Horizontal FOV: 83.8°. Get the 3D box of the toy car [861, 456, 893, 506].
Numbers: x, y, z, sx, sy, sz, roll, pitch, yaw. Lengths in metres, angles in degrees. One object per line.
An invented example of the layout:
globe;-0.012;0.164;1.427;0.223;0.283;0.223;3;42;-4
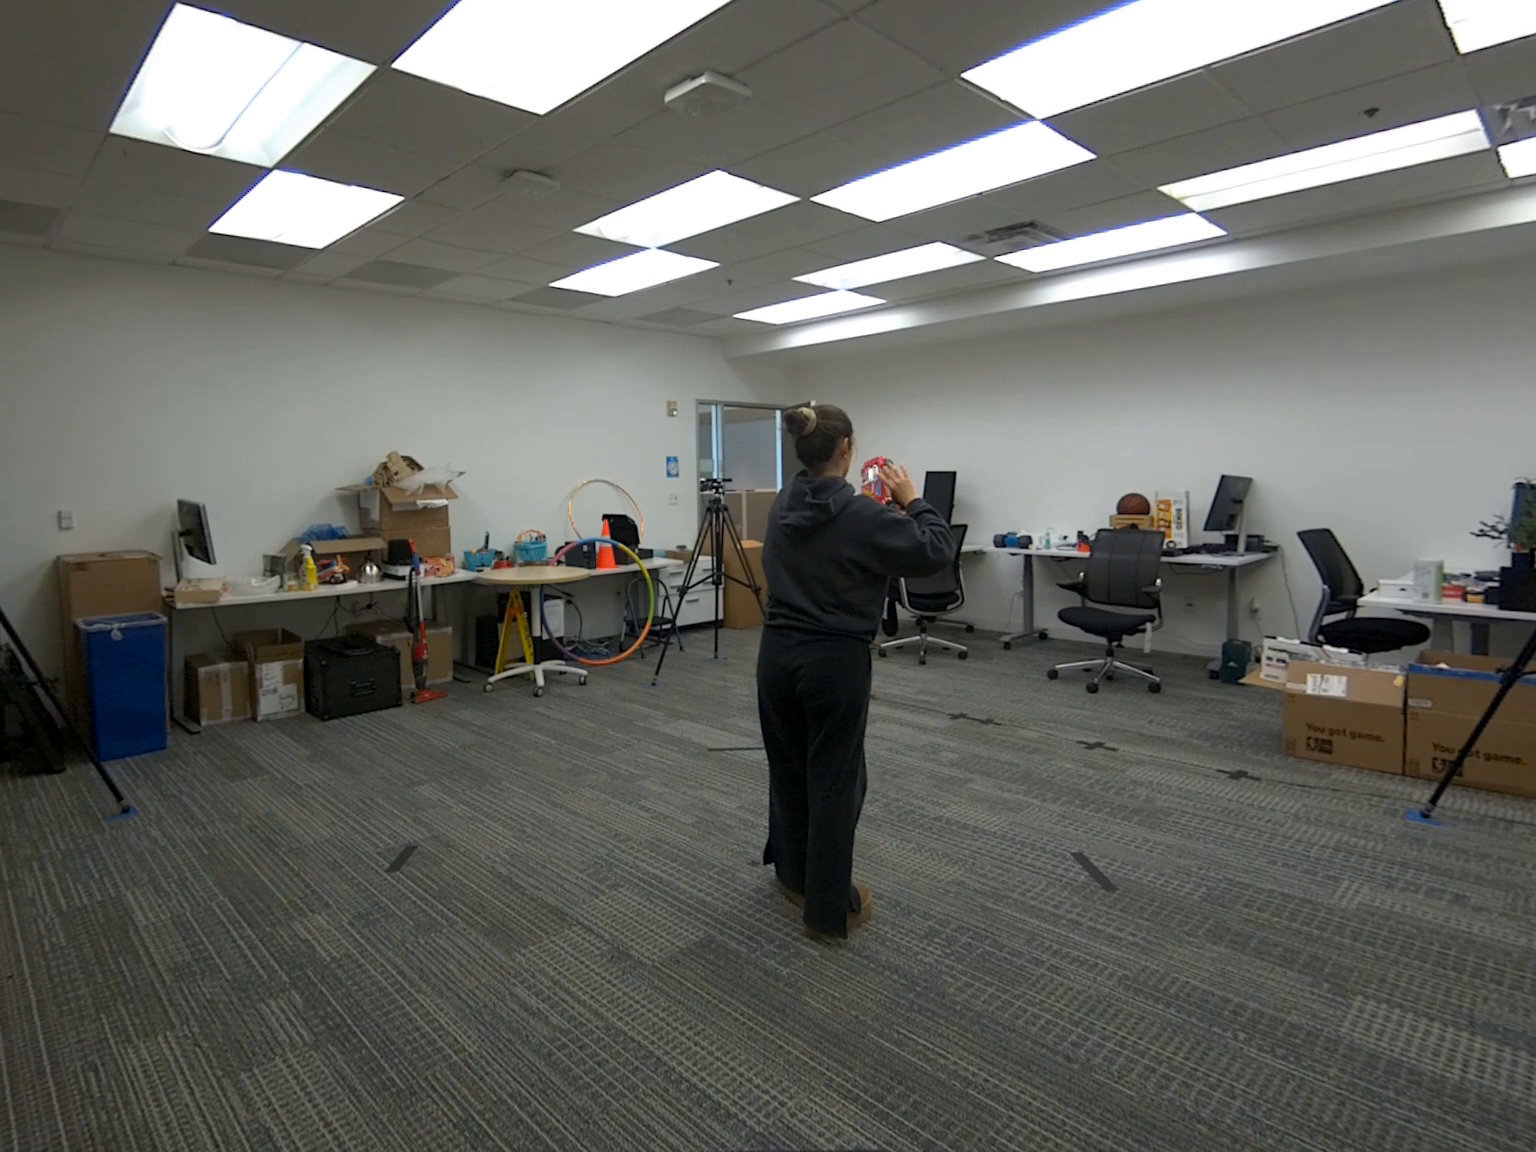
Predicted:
toy car;0.354;-0.262;2.781;0.080;0.258;0.132;20;-23;-31
